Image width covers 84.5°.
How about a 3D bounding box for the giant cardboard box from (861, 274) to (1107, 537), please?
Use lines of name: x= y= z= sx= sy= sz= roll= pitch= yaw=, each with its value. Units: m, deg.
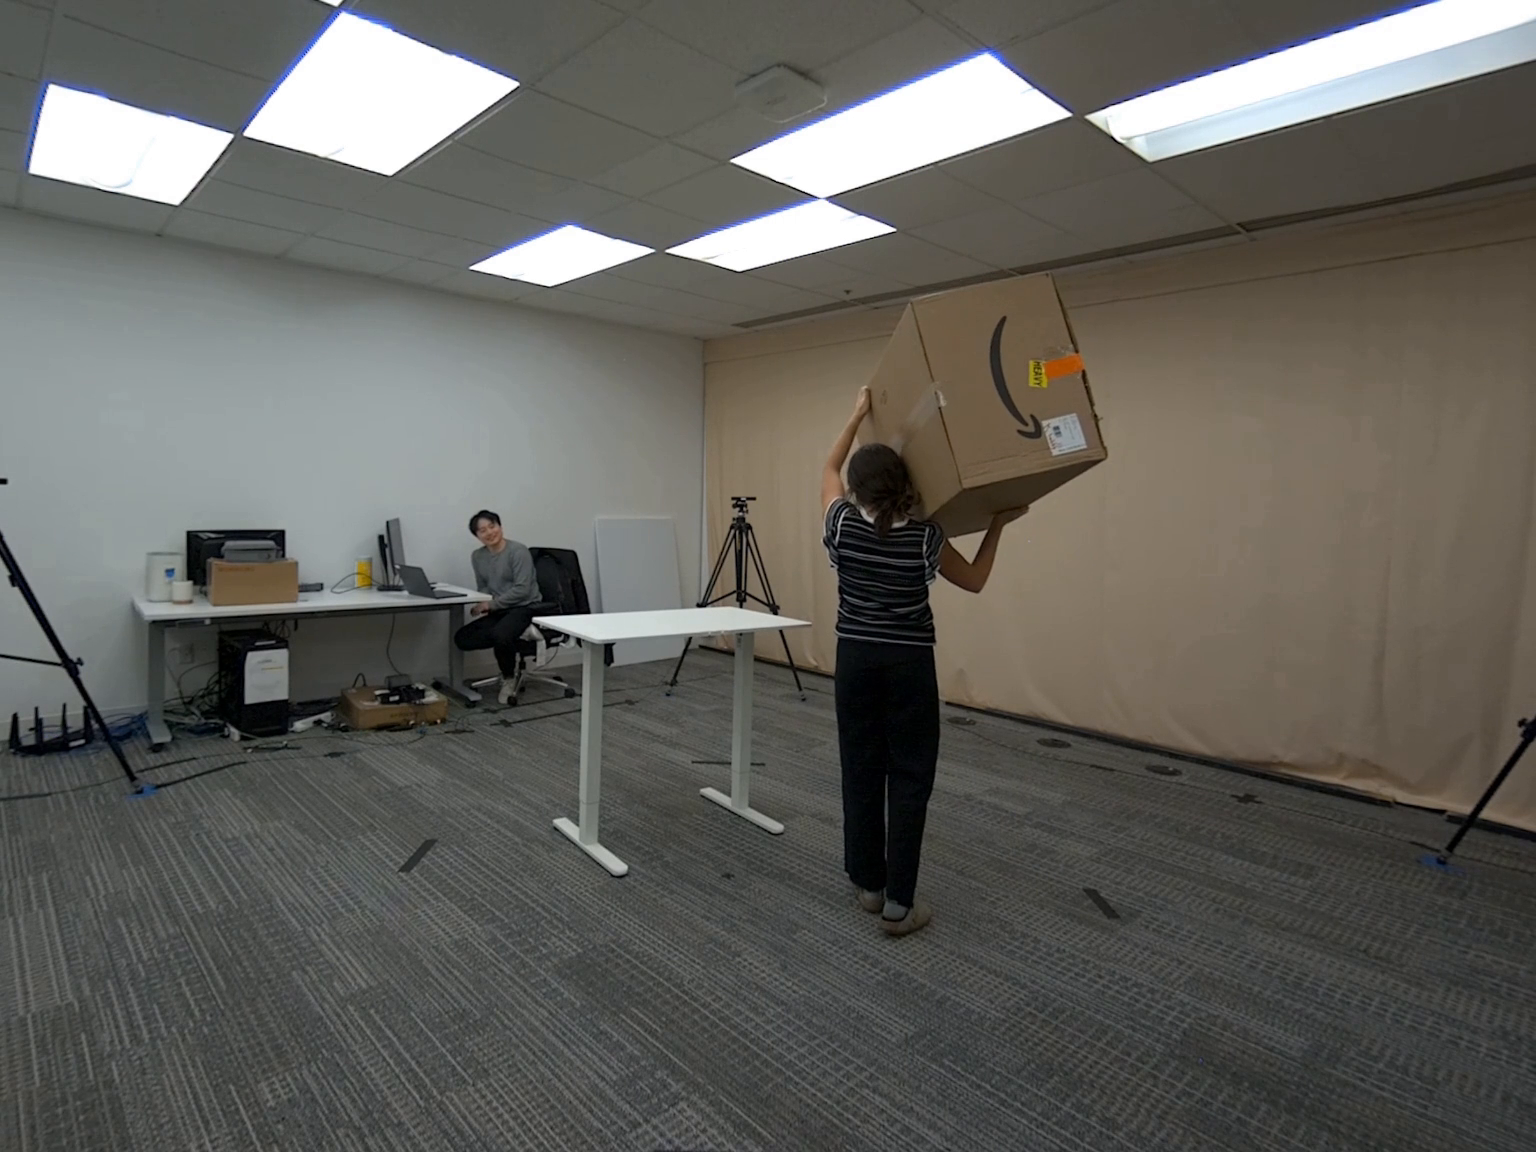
giant cardboard box: x=0.640 y=-0.484 z=2.861 sx=0.425 sy=0.582 sz=1.020 roll=-13 pitch=-8 yaw=-5
